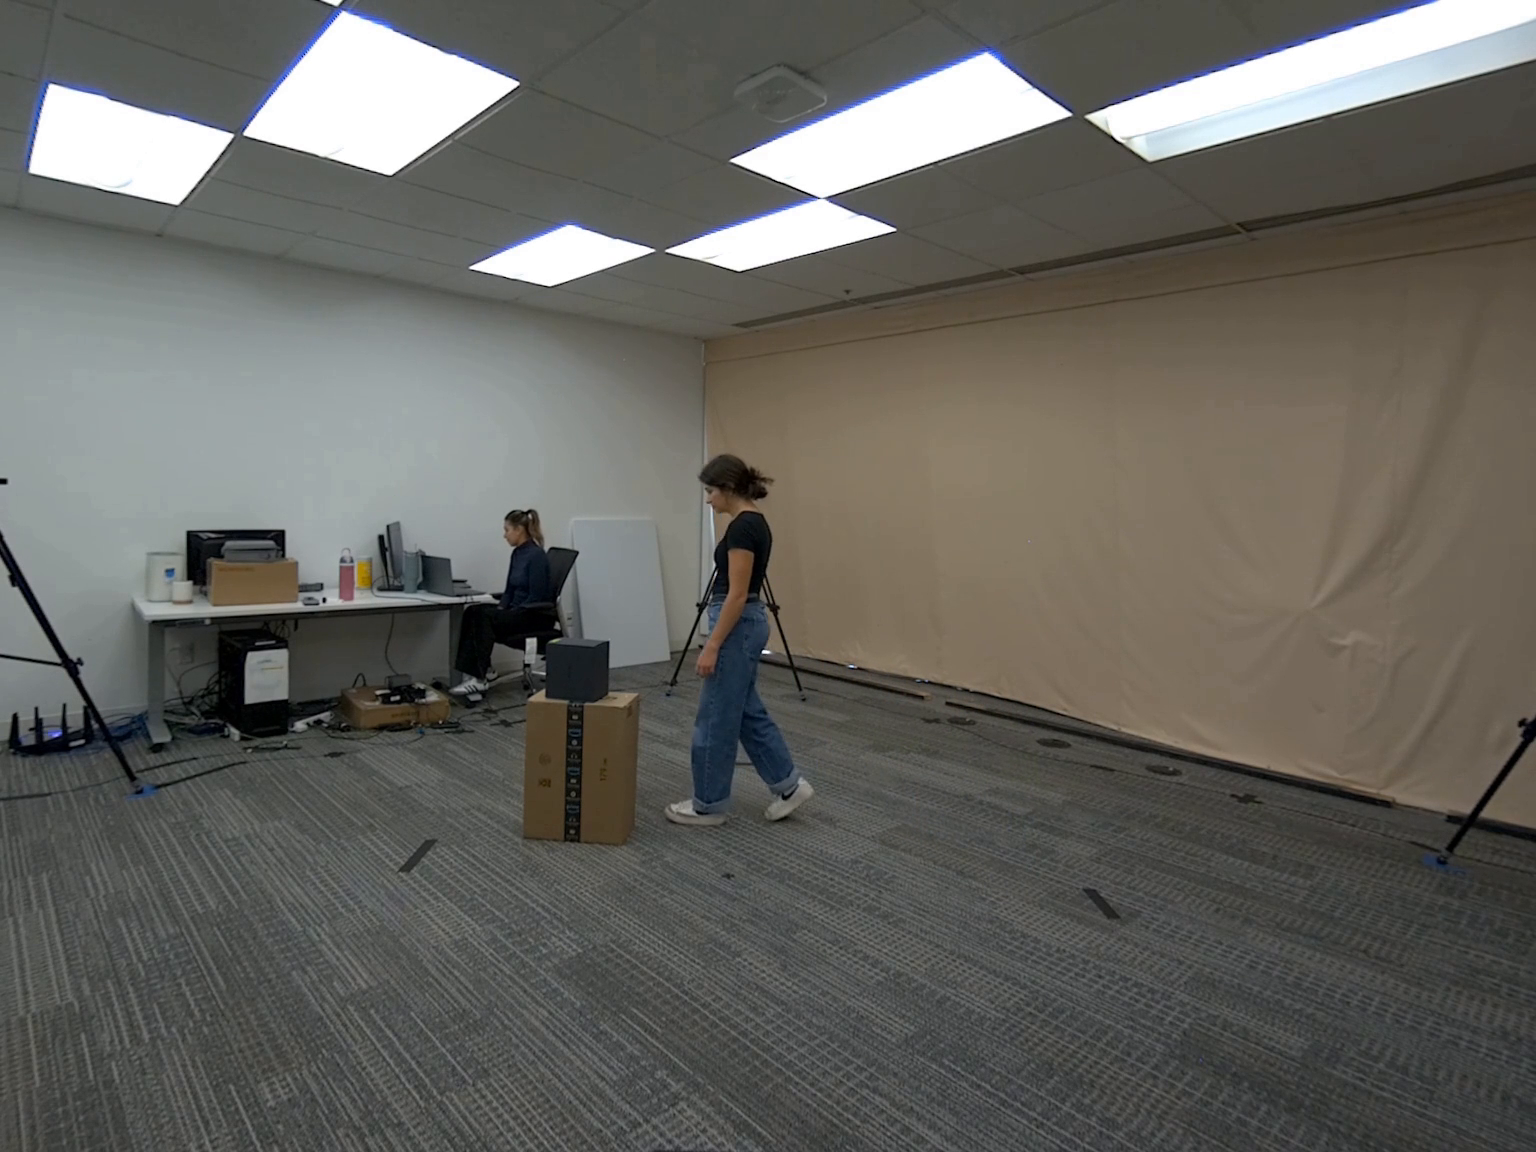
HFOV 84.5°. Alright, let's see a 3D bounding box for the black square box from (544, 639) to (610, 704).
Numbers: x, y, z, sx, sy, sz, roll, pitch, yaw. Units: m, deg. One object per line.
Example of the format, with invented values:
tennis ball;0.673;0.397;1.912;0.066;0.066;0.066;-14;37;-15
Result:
black square box;-0.781;0.376;3.449;0.219;0.227;0.154;3;3;13
